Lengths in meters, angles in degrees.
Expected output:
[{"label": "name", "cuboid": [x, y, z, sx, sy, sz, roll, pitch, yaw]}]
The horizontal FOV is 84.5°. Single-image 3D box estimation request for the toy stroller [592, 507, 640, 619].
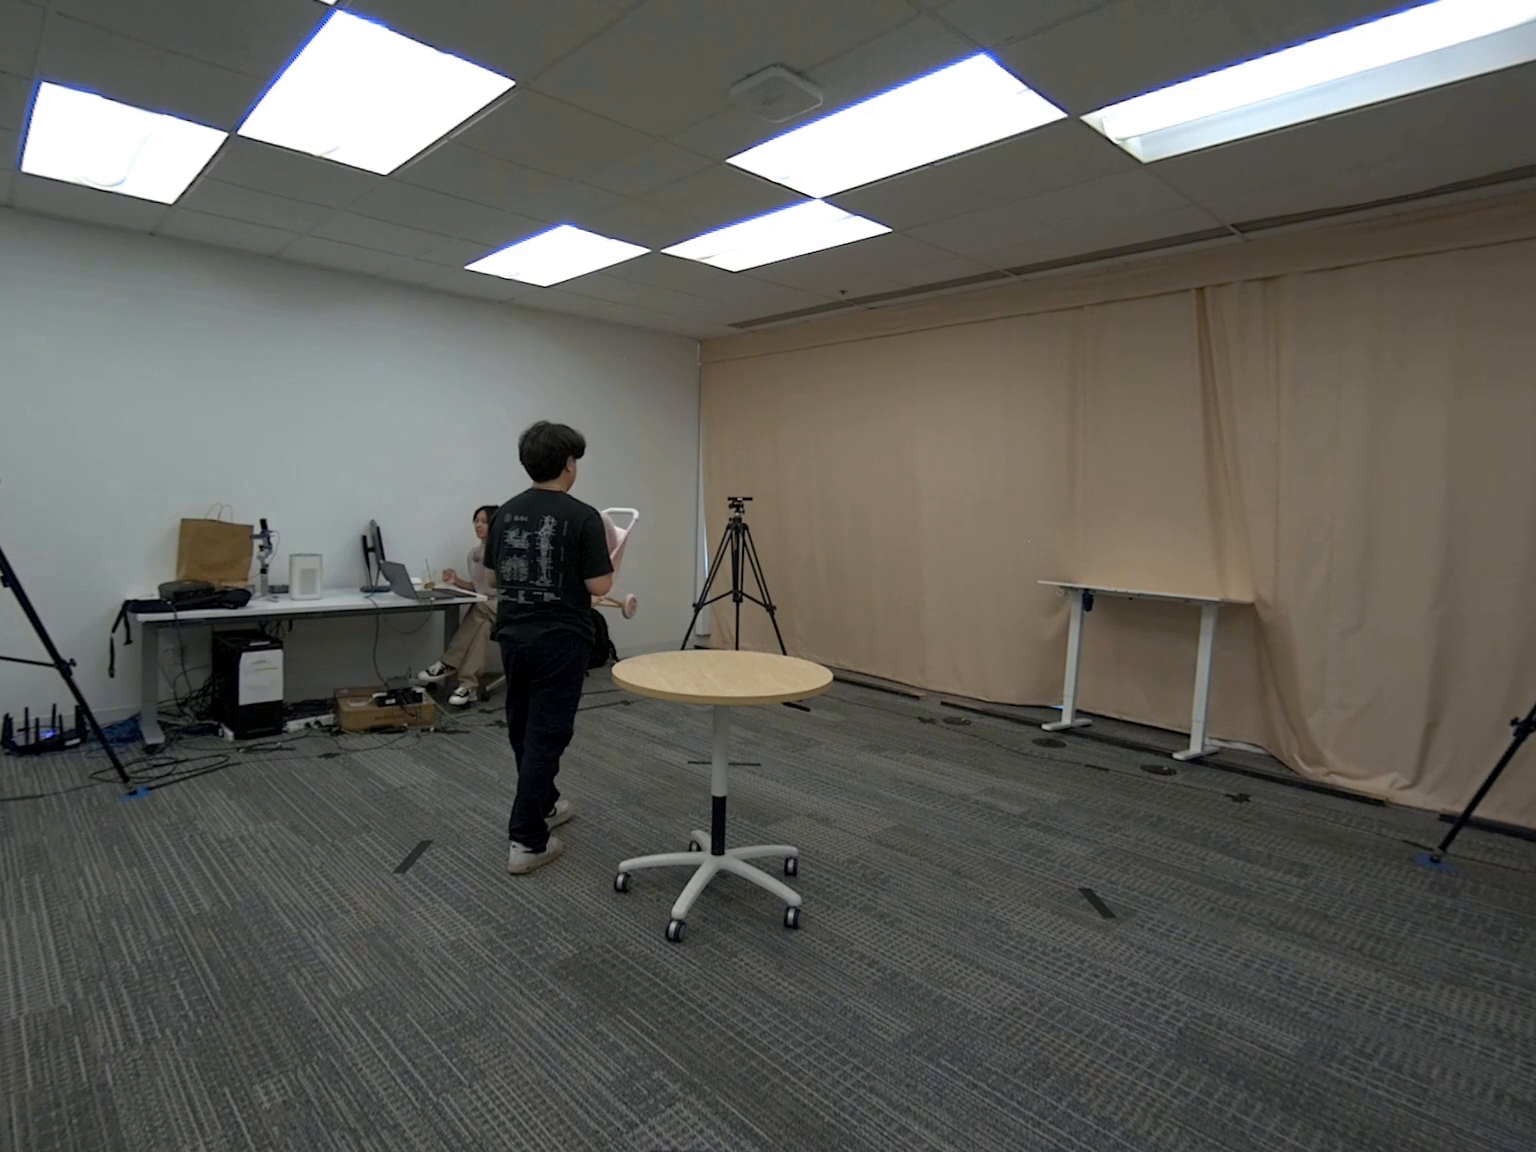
[{"label": "toy stroller", "cuboid": [-0.749, -0.038, 3.581, 0.287, 0.536, 0.333, 5, -2, 28]}]
